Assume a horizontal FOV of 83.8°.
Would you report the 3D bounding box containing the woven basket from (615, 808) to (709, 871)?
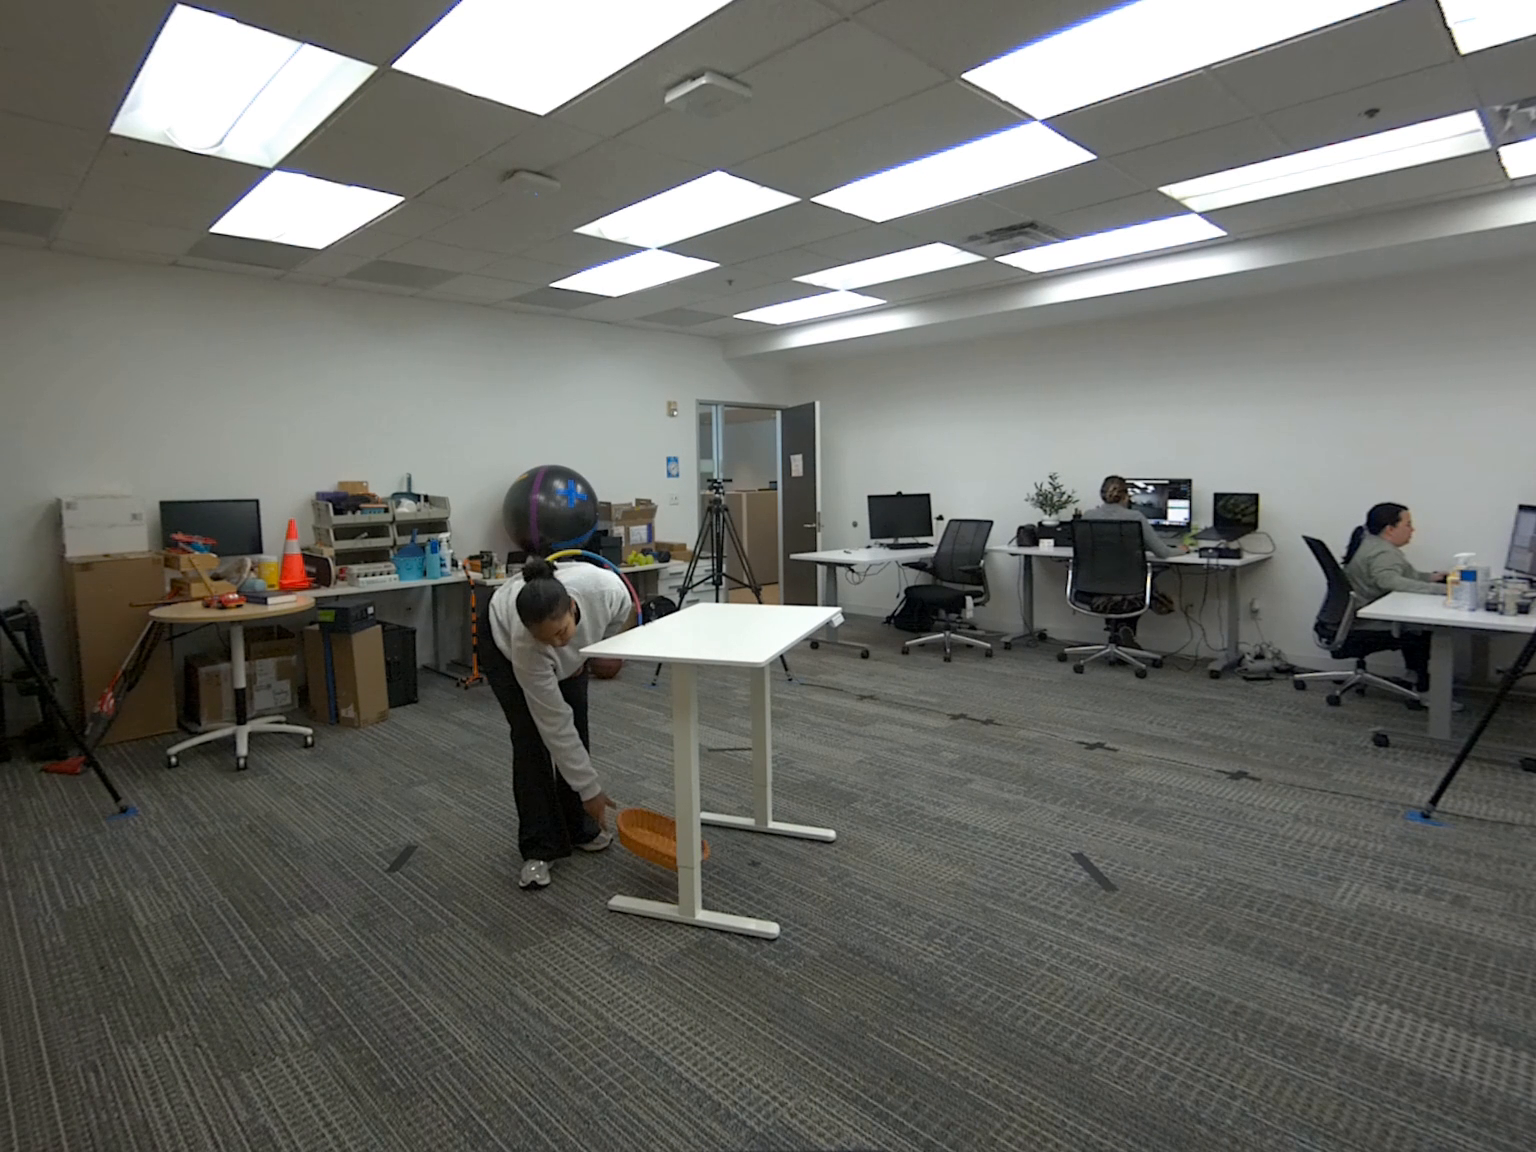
[{"bbox_3d":[-0.387,0.935,2.970,0.353,0.073,0.252,22,10,4],"label":"woven basket"}]
